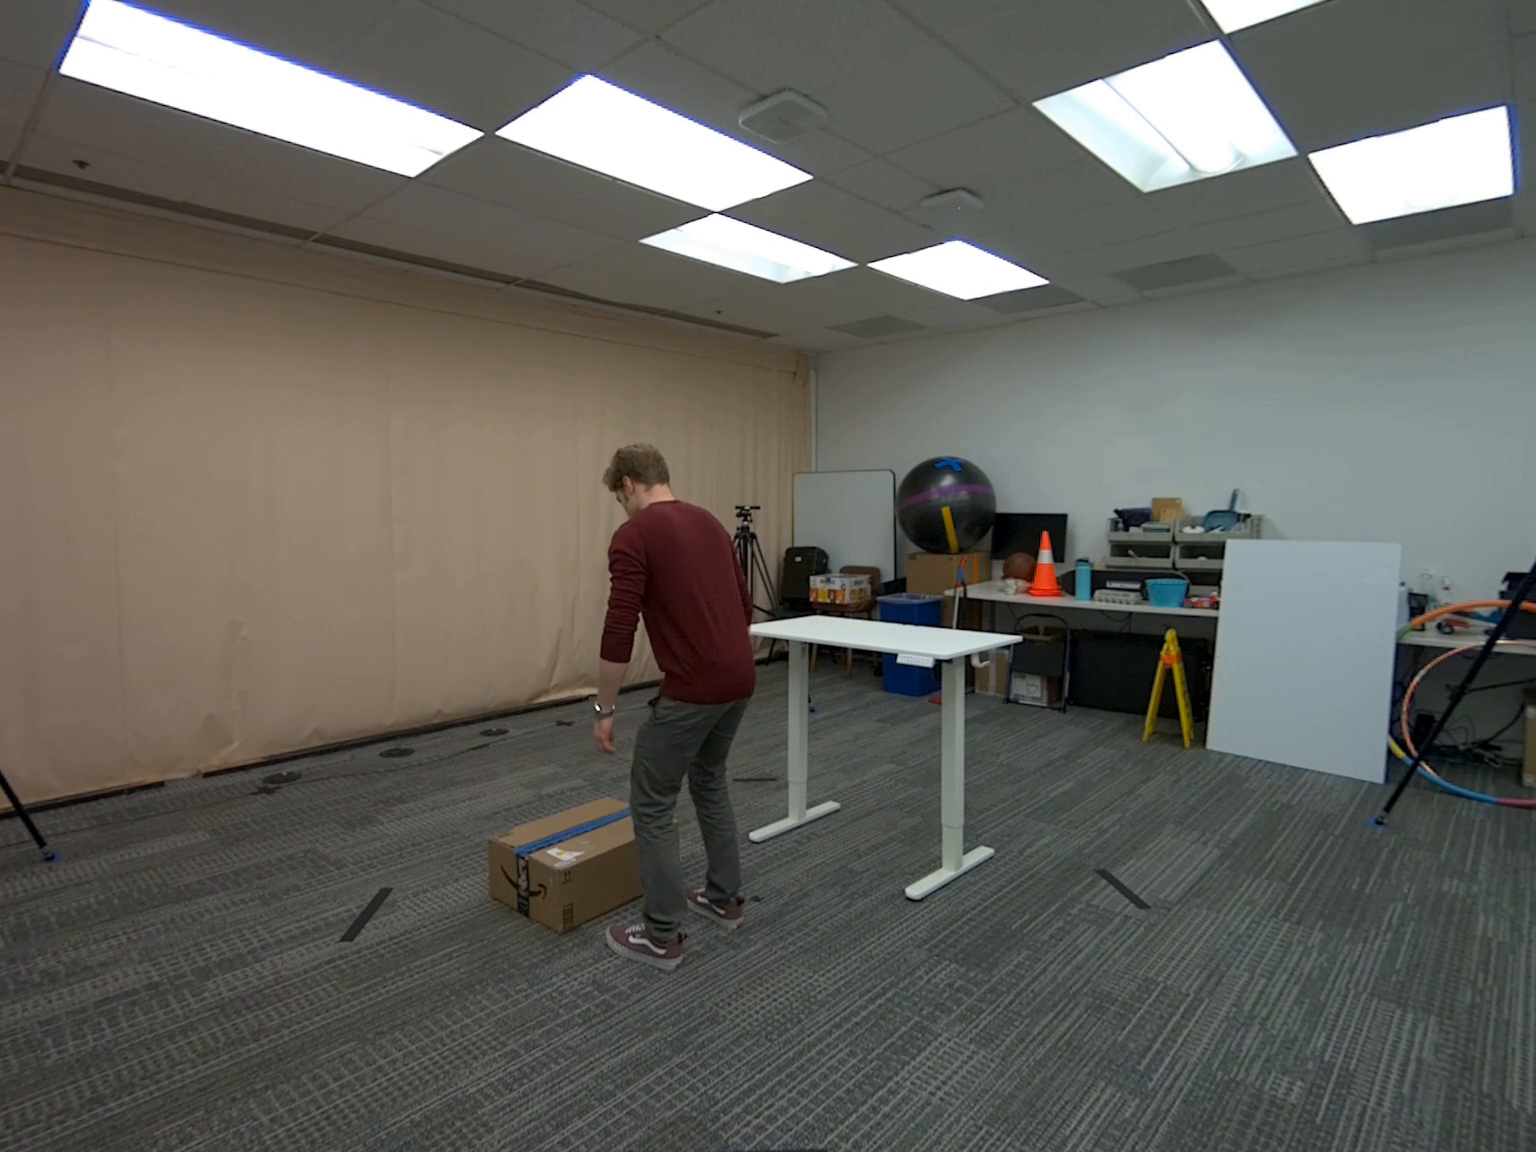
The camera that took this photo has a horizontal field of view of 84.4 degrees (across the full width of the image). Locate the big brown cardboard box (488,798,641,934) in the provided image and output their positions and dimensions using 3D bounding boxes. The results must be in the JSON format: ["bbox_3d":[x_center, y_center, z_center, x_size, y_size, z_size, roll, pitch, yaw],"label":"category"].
[{"bbox_3d":[-0.672,1.035,3.081,0.431,0.232,0.571,3,5,39],"label":"big brown cardboard box"}]
